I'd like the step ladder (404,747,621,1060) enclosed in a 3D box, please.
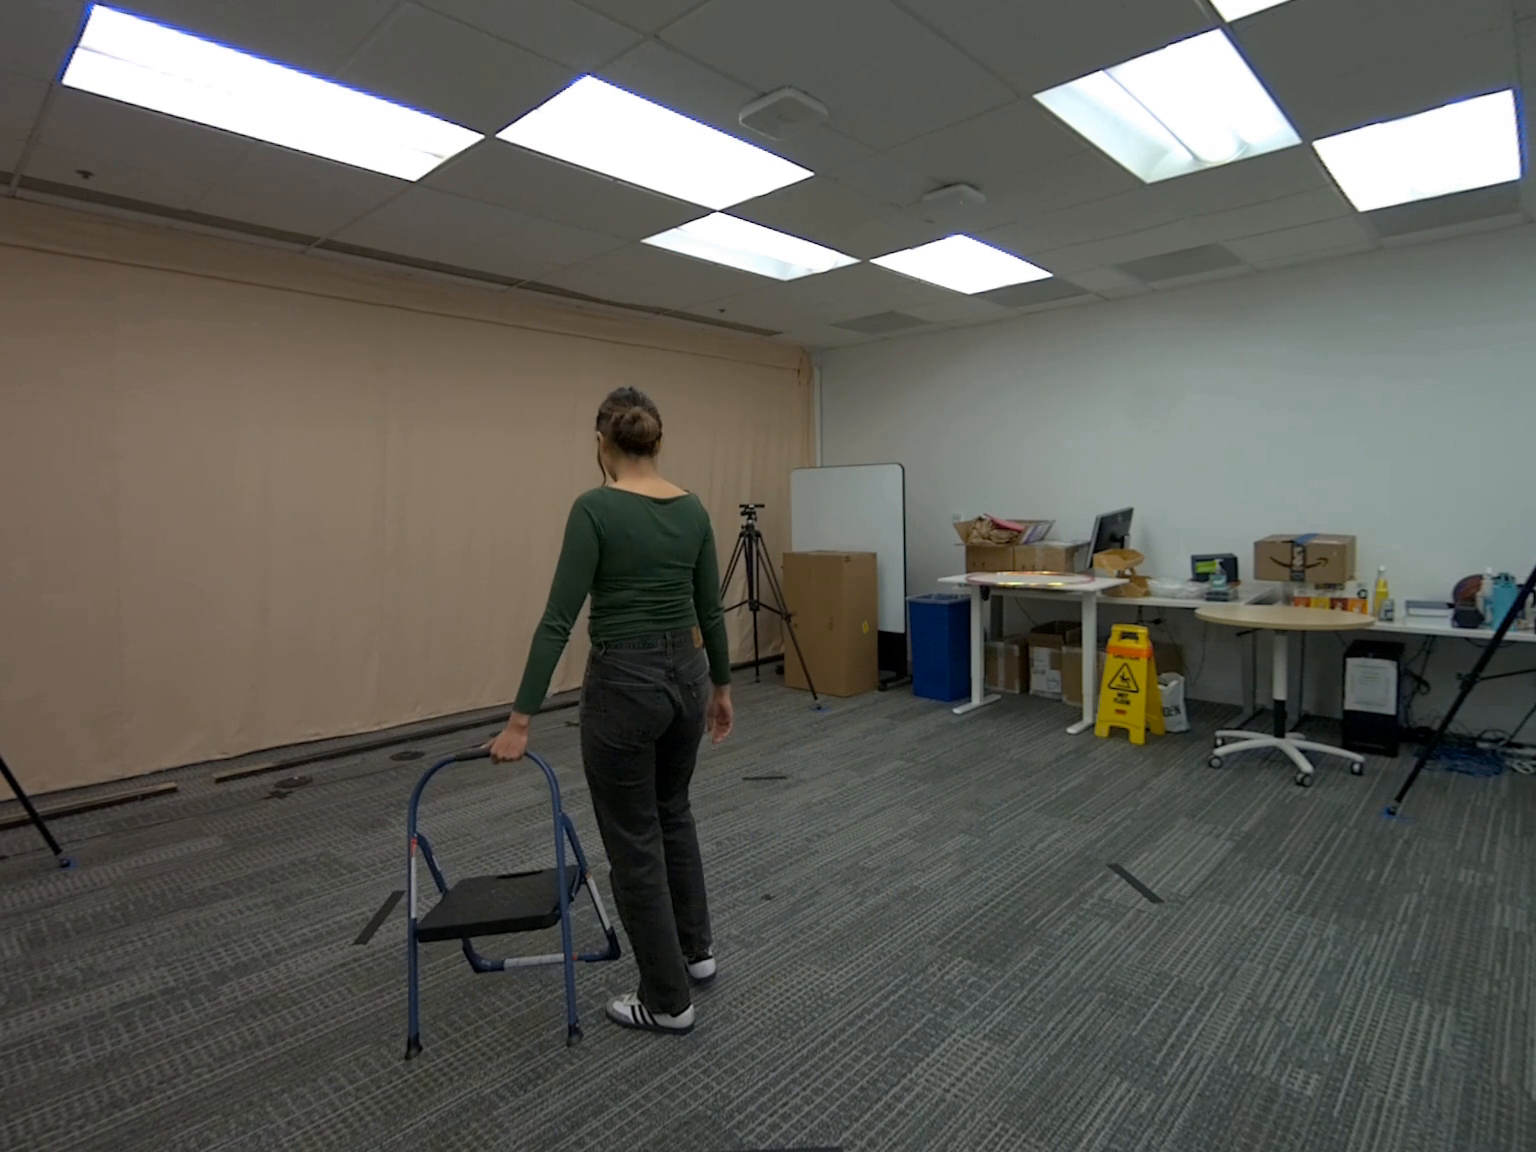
[{"bbox_3d":[-0.649,0.744,2.004,0.435,0.604,0.347,-11,5,9],"label":"step ladder"}]
